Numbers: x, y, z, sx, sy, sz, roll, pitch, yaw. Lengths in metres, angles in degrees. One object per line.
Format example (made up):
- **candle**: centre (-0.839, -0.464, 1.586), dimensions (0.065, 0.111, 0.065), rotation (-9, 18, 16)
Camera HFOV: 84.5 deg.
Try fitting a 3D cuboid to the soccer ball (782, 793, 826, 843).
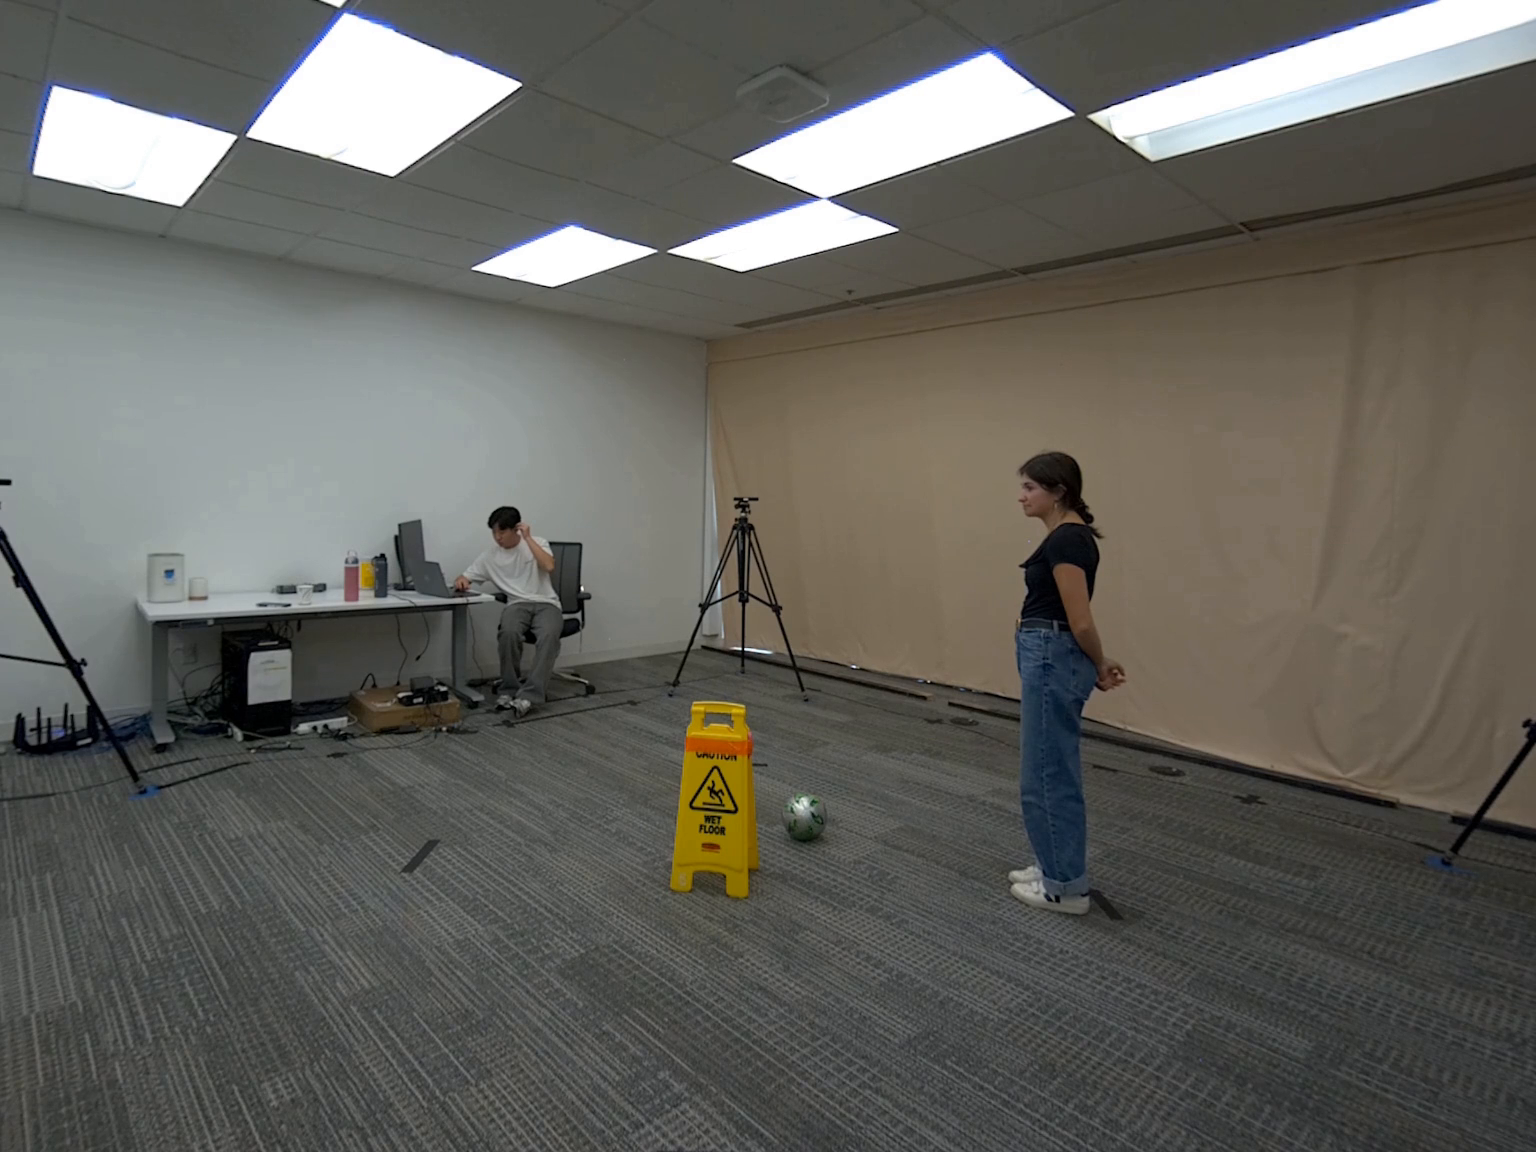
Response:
- **soccer ball**: centre (0.142, 0.991, 3.460), dimensions (0.187, 0.187, 0.188), rotation (1, 4, -1)
